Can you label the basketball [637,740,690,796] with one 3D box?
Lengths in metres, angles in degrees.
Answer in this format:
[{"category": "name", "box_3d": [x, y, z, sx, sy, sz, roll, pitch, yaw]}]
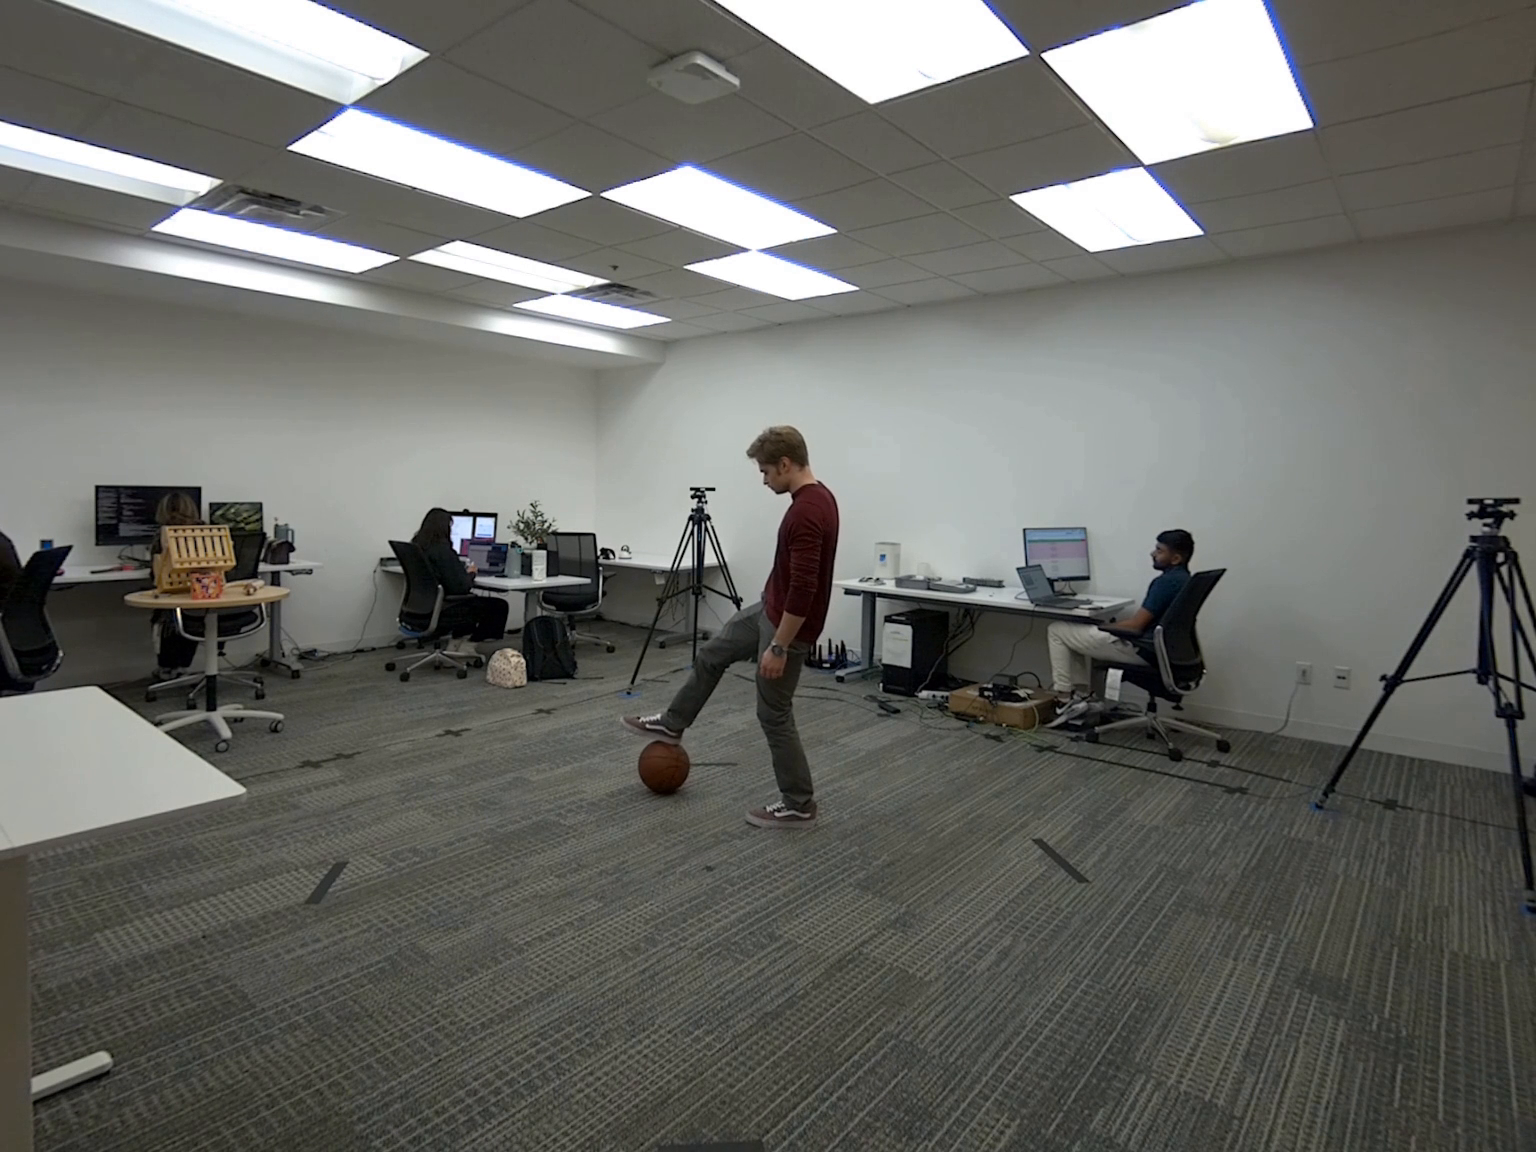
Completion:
[{"category": "basketball", "box_3d": [-0.492, 0.866, 3.897, 0.235, 0.235, 0.237, 1, 4, -2]}]
